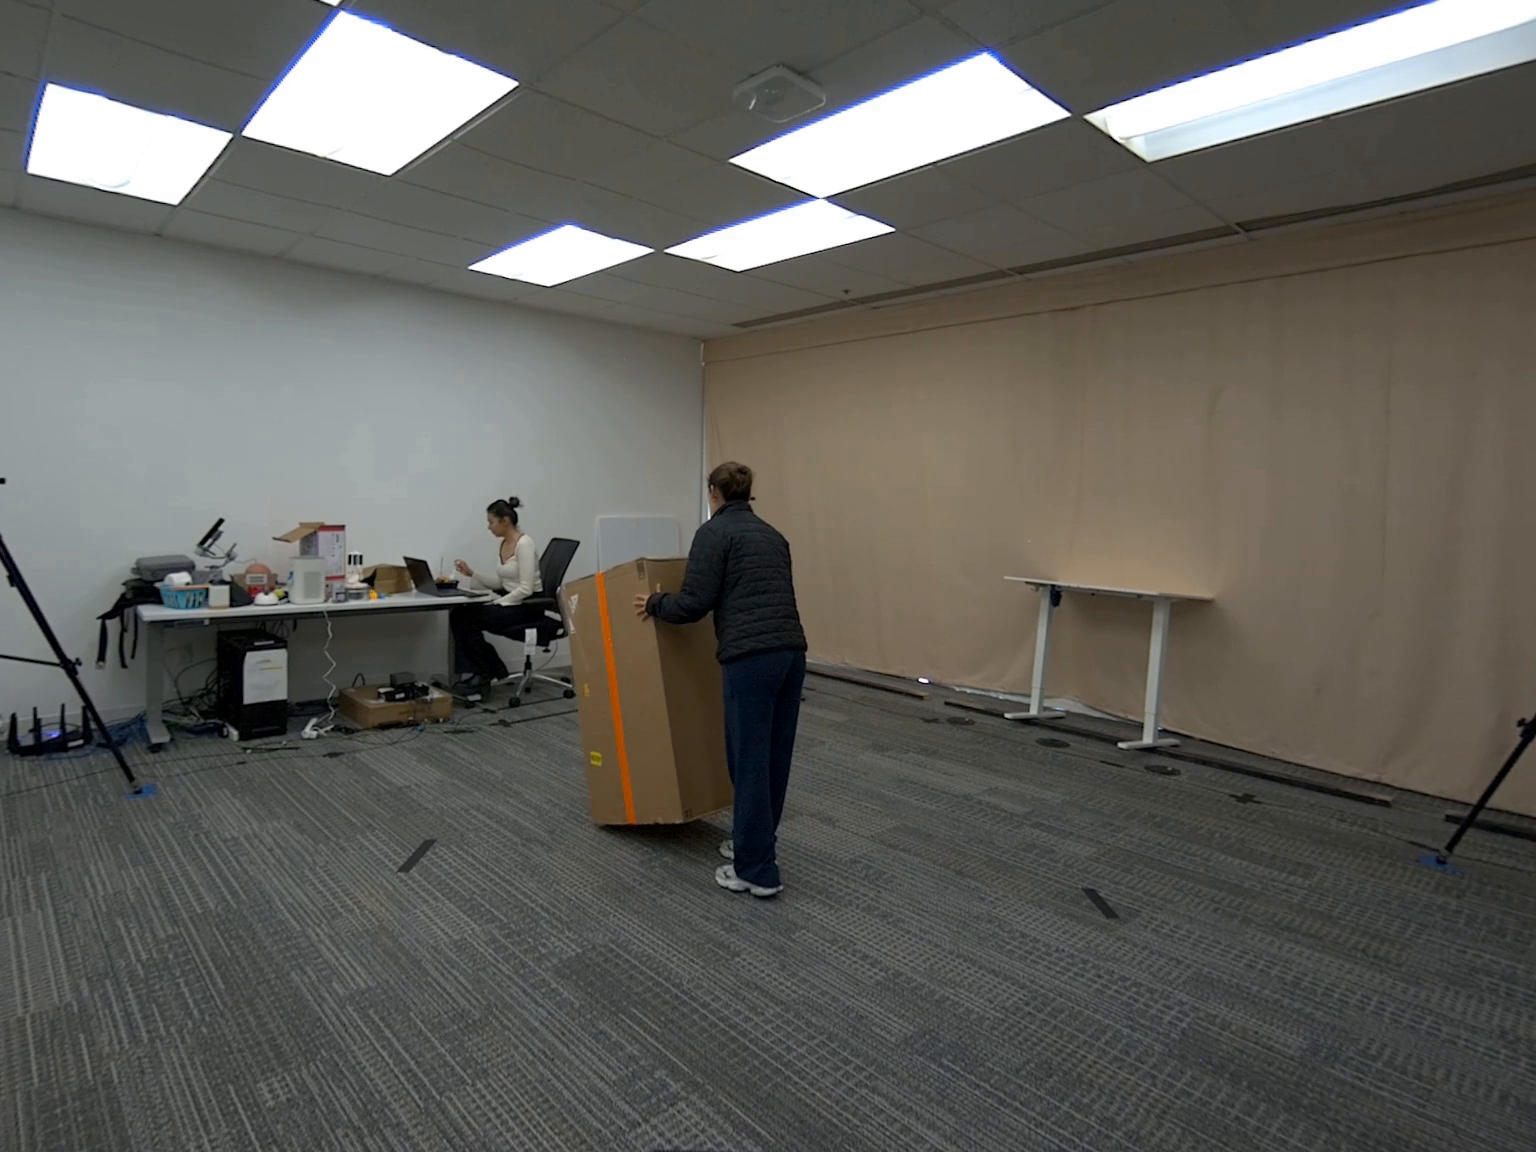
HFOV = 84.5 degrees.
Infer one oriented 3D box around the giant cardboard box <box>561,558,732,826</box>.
[{"bbox_3d":[-0.478,0.482,3.550,0.586,1.034,0.416,-18,-12,43],"label":"giant cardboard box"}]
